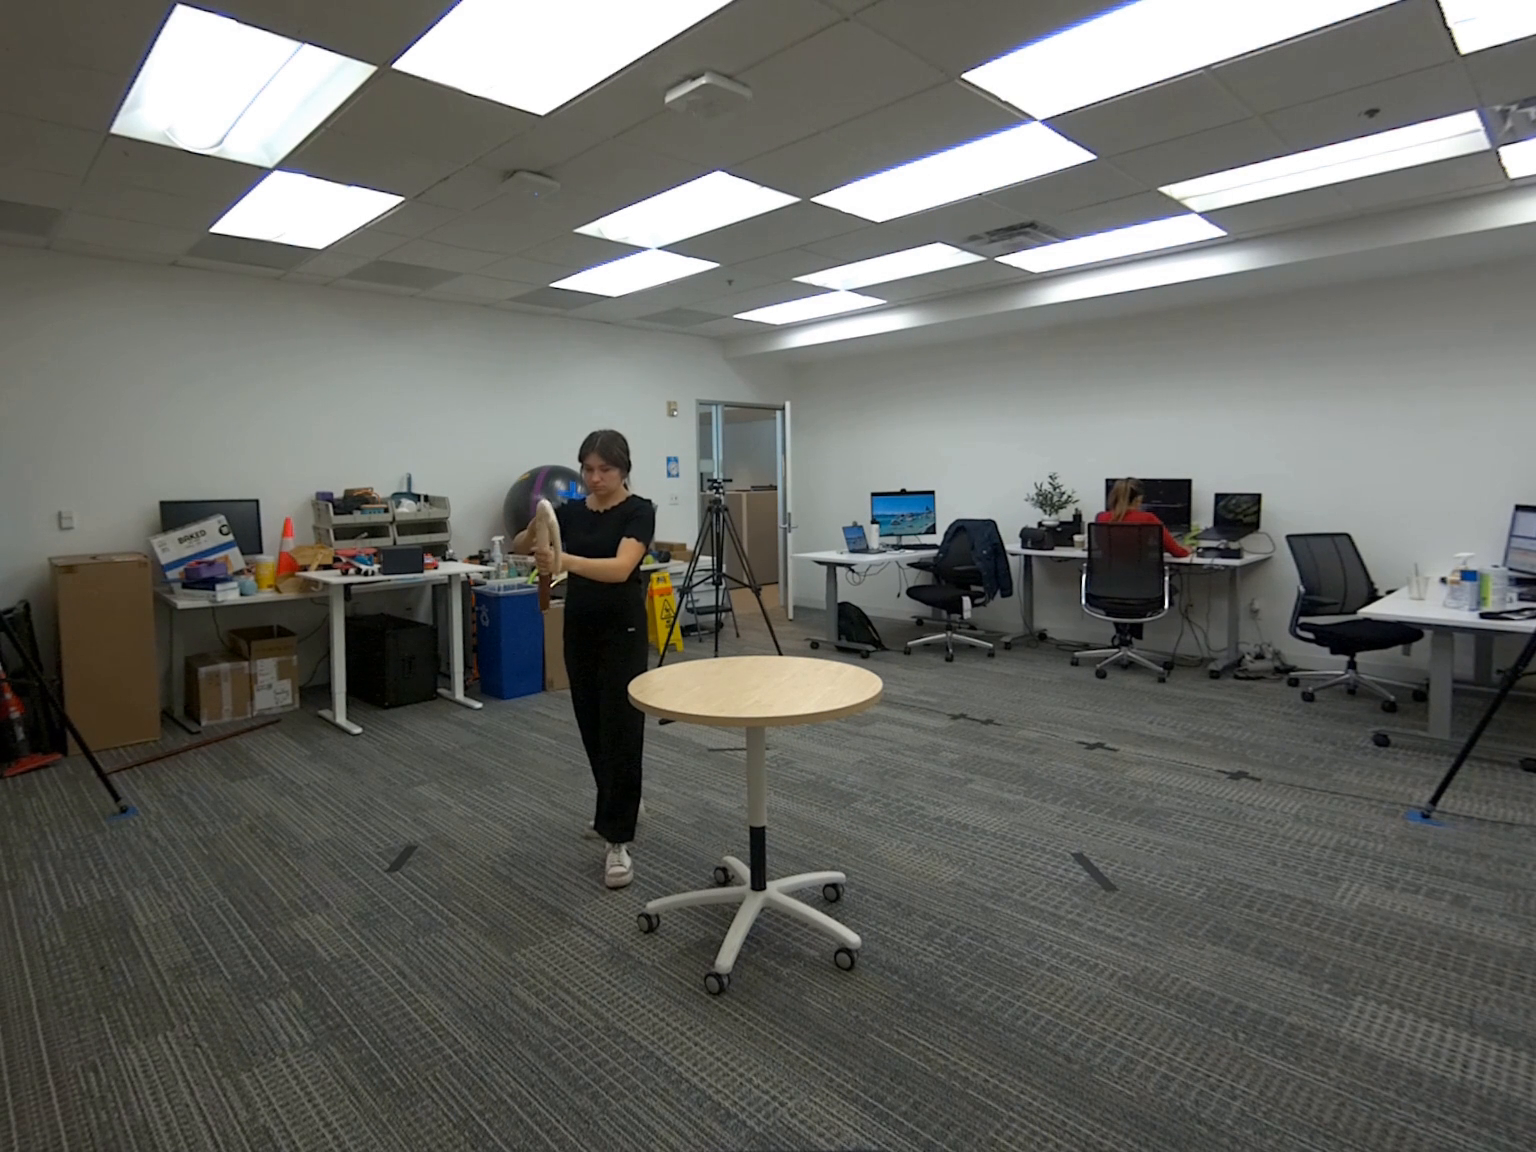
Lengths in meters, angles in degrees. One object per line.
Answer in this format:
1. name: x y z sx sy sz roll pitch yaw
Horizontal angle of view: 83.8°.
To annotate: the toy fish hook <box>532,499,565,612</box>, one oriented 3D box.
1. toy fish hook: -0.716 -0.012 2.737 0.047 0.496 0.233 -7 46 -22
